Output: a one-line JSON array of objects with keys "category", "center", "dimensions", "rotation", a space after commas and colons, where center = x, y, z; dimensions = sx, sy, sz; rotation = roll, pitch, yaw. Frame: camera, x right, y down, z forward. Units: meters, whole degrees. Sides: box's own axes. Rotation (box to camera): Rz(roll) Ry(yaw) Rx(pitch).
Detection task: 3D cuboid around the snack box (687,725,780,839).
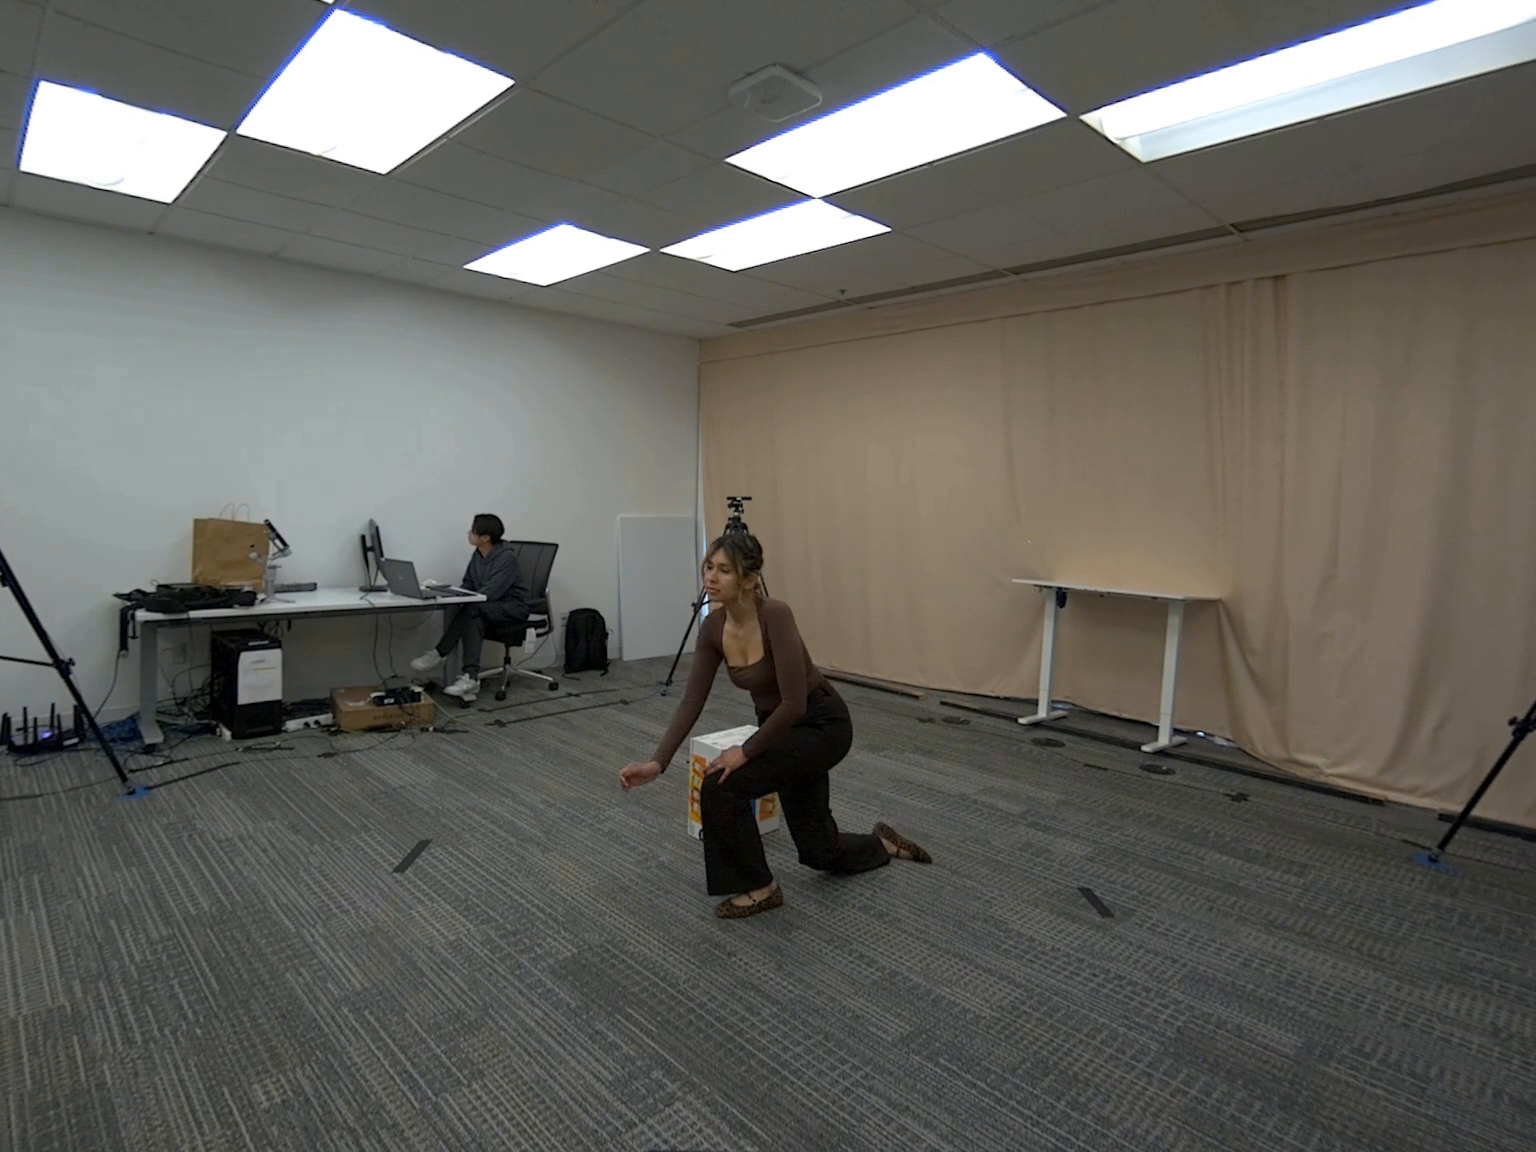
[{"category": "snack box", "center": [-0.144, 0.870, 3.510], "dimensions": [0.332, 0.404, 0.211], "rotation": [-2, 5, -44]}]
